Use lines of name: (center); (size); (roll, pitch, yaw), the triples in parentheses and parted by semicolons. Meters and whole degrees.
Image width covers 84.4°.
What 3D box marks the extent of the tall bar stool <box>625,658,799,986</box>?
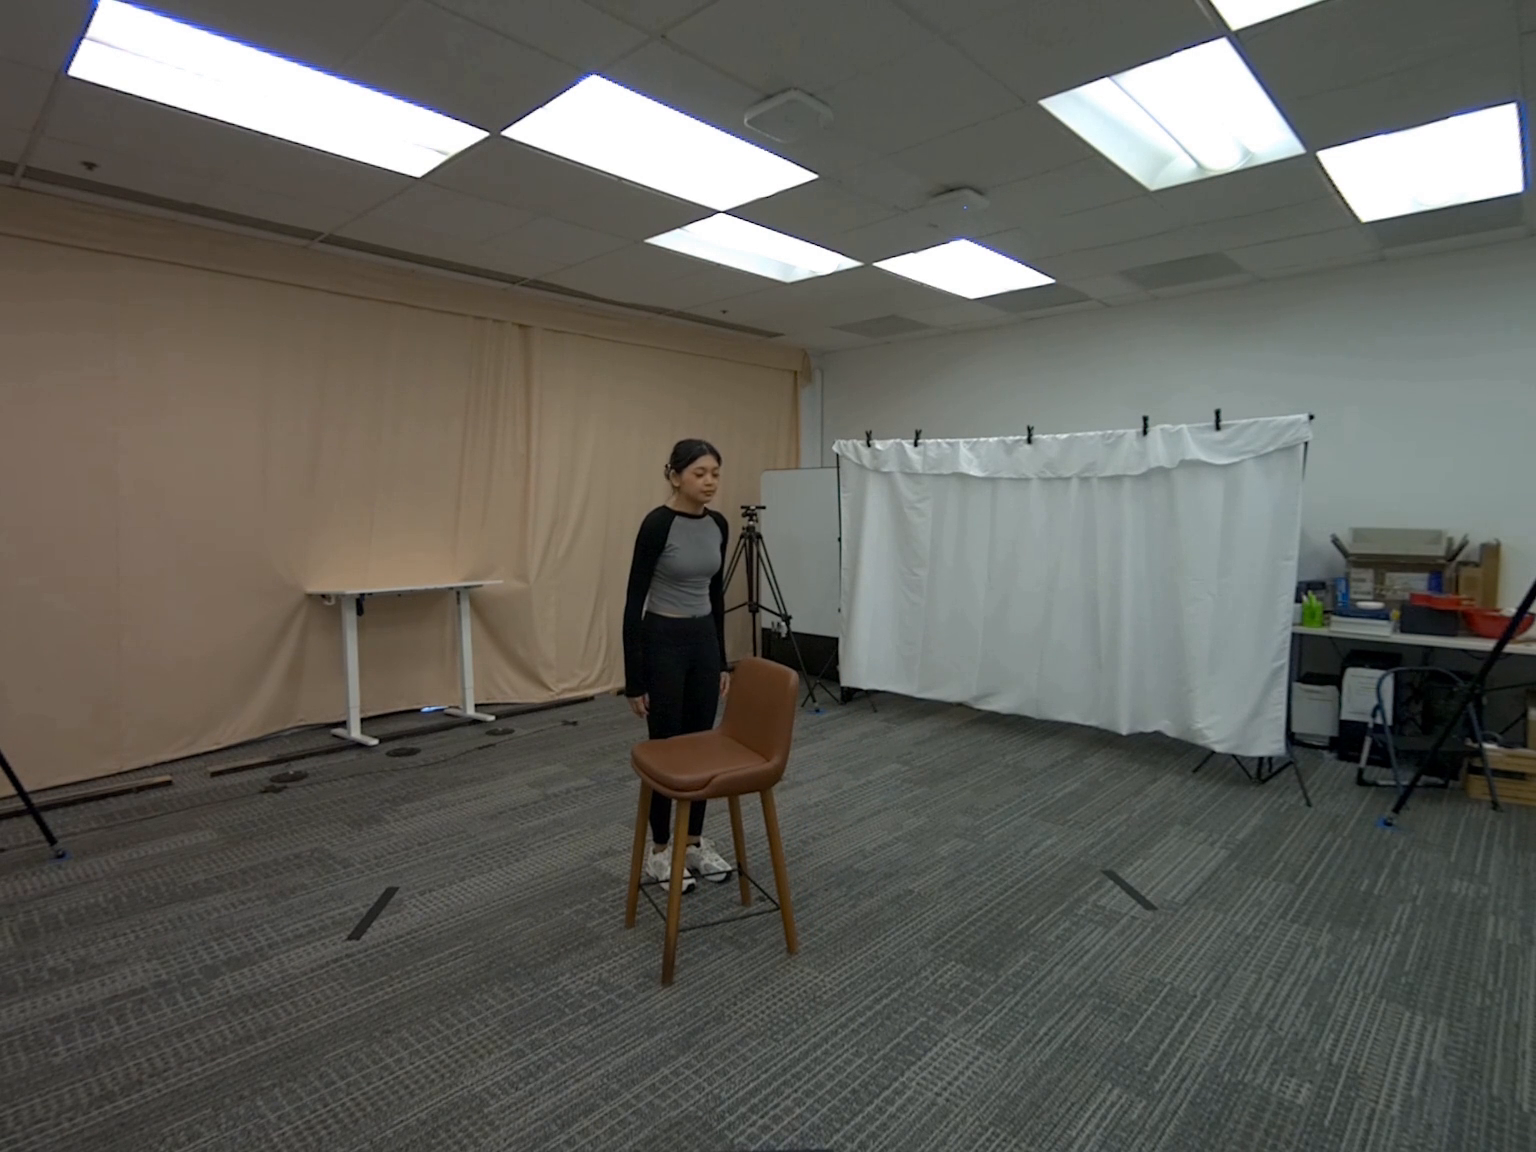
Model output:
tall bar stool: (-0.178, 0.735, 2.683); (0.456, 0.888, 0.468); (0, 3, -25)
